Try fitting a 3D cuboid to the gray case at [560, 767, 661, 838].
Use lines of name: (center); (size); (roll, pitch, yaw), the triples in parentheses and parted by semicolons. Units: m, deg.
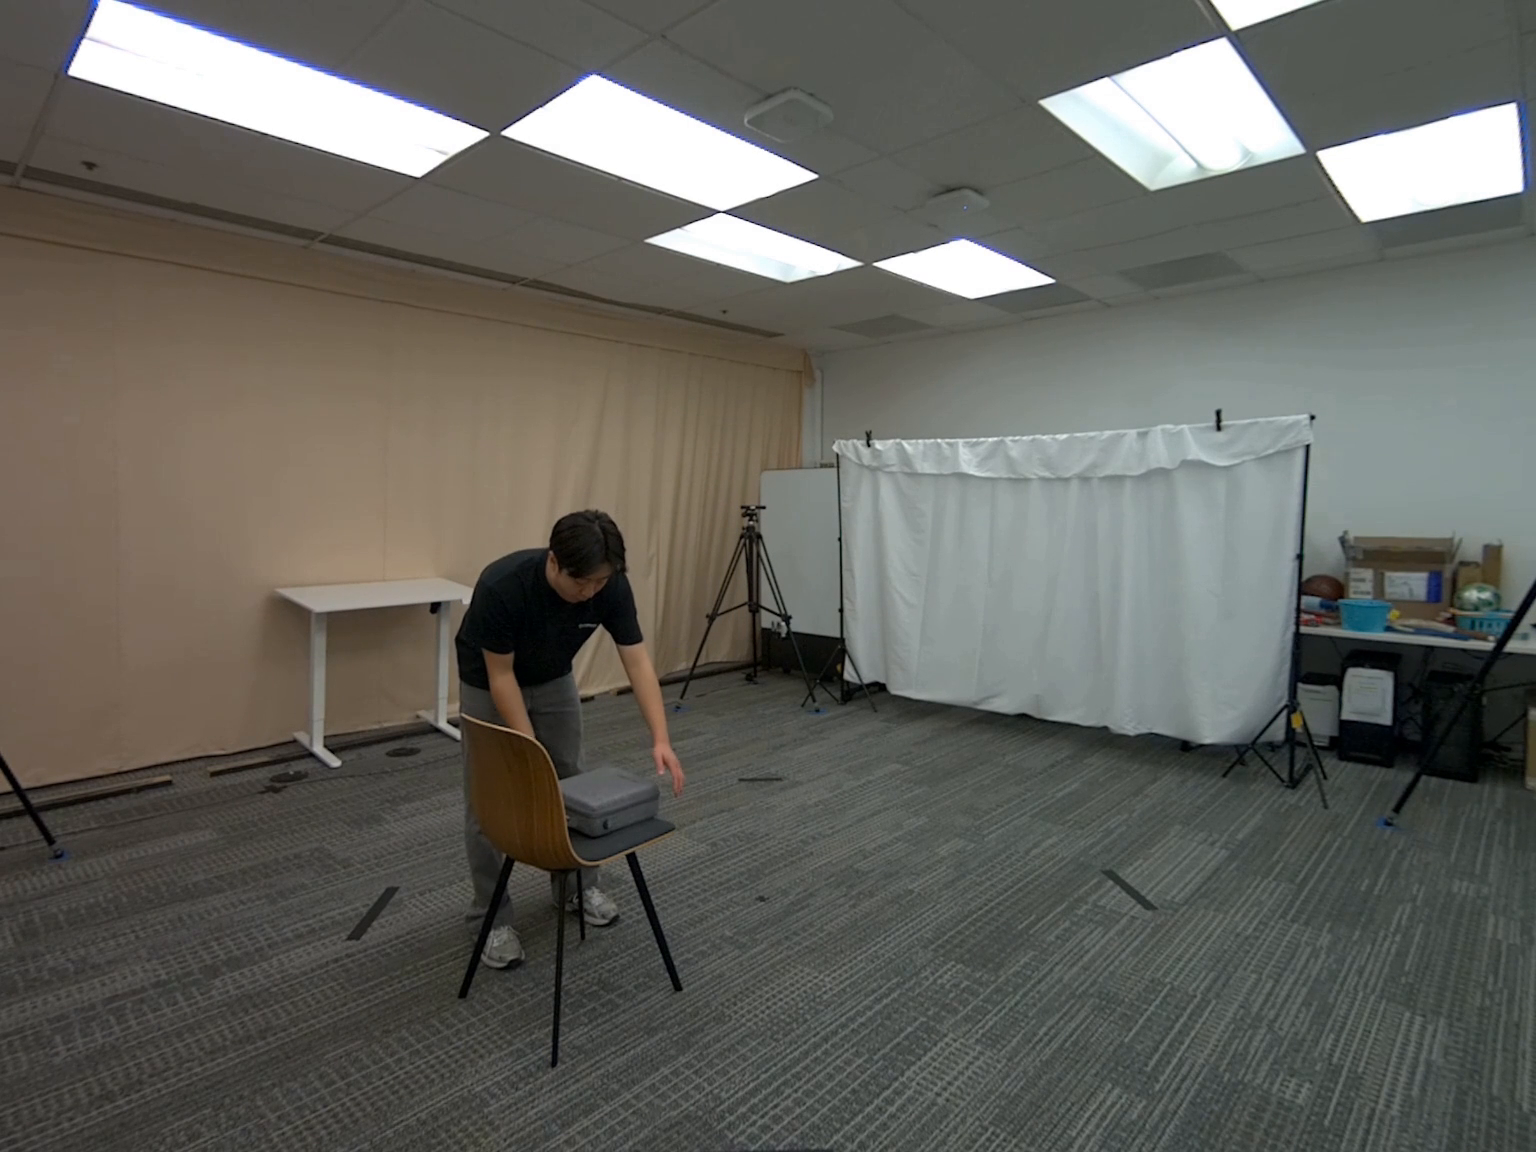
gray case: (-0.492, 0.655, 2.450); (0.272, 0.103, 0.278); (4, 8, 44)
